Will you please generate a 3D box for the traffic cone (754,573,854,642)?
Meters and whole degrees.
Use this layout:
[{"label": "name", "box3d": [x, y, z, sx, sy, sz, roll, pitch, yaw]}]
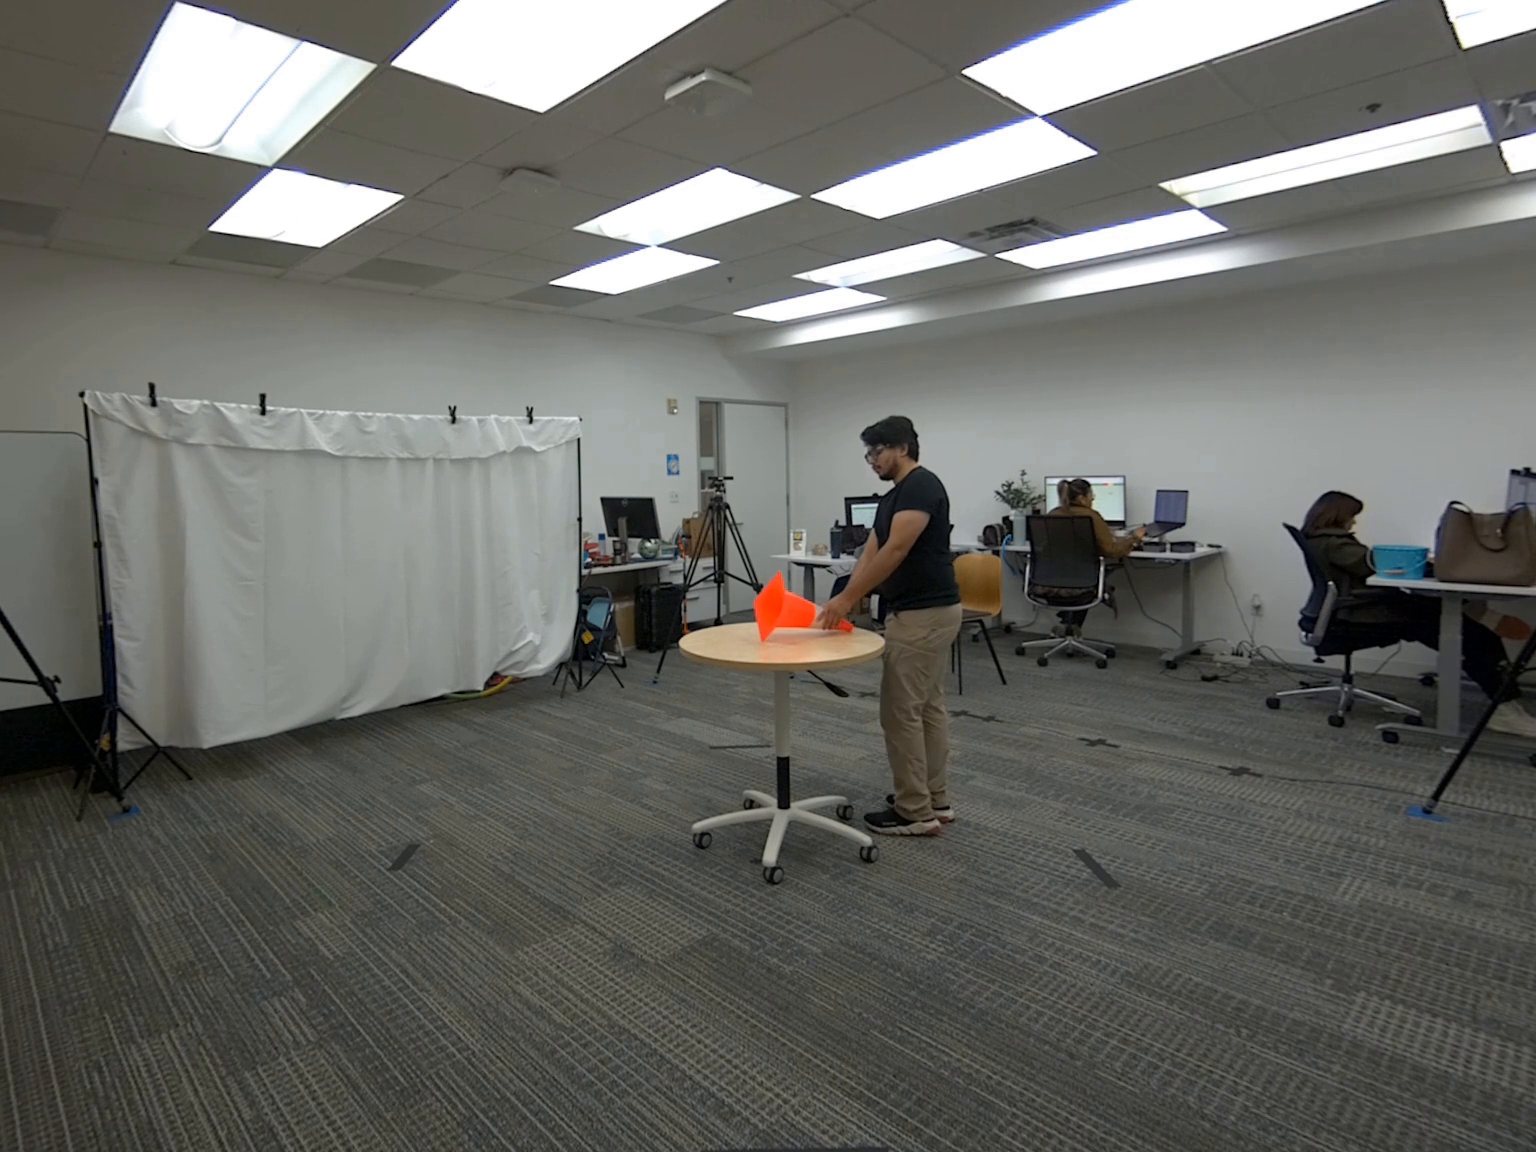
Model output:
[{"label": "traffic cone", "box3d": [0.165, 0.162, 3.258, 0.374, 0.211, 0.202, 17, -48, -25]}]
